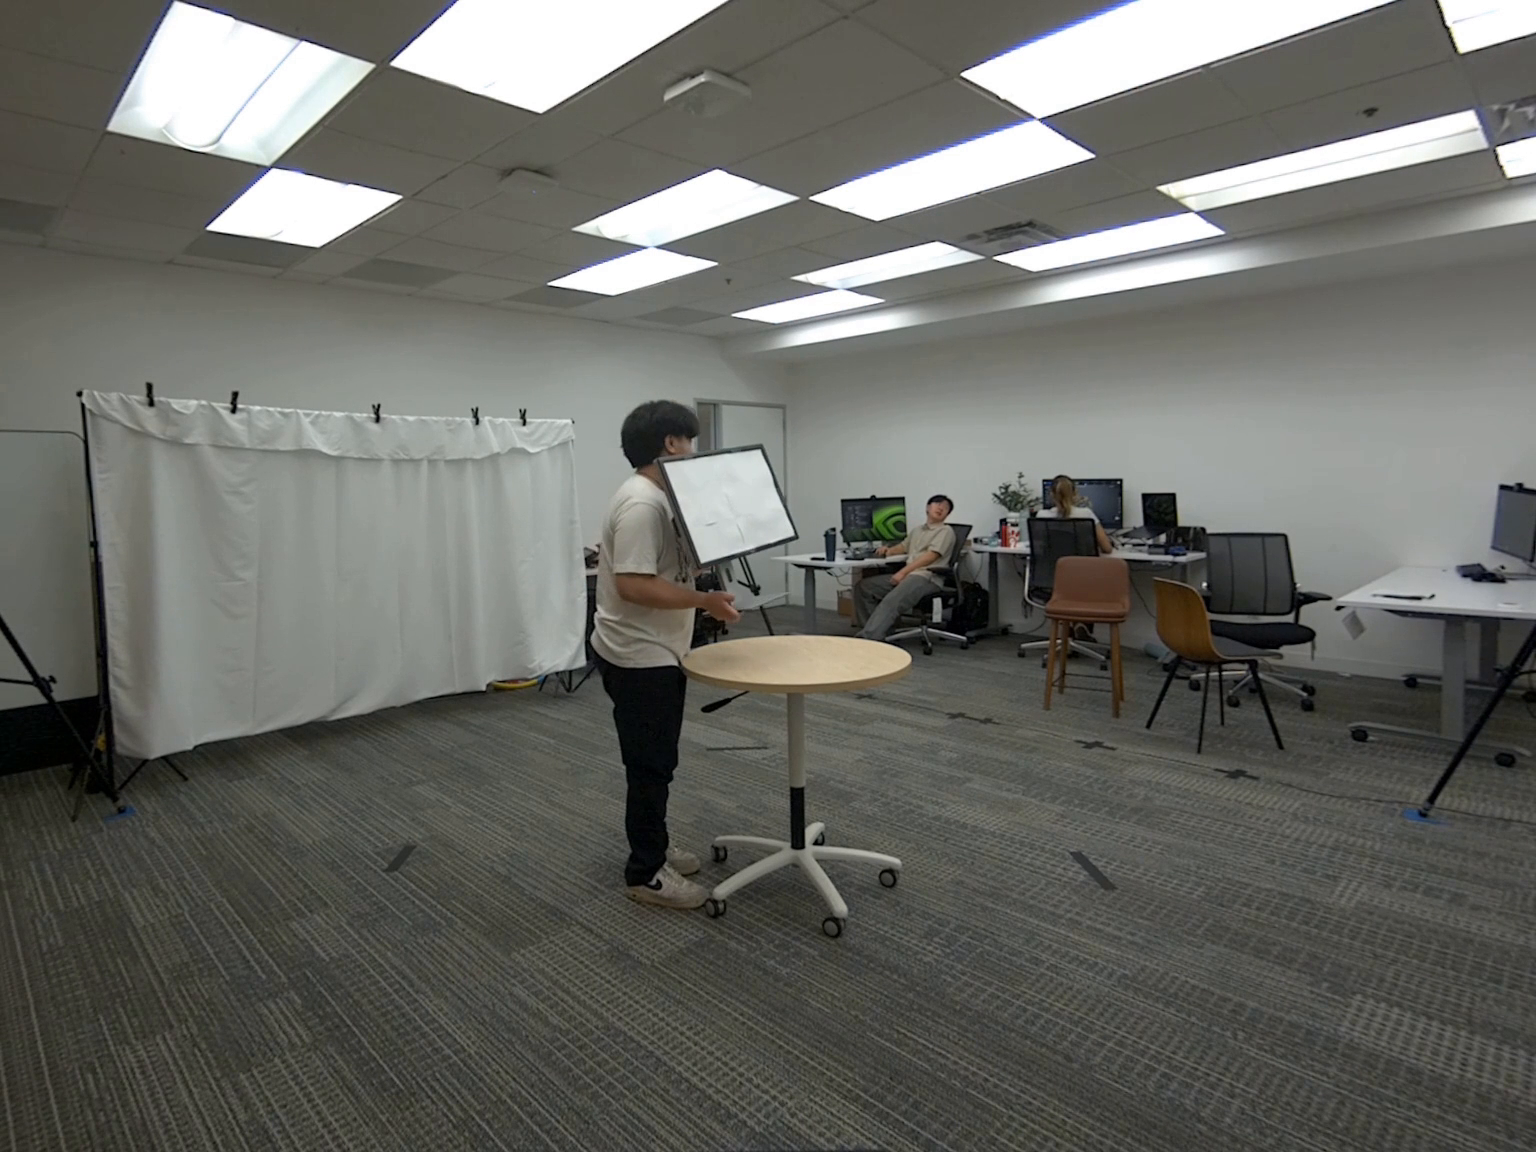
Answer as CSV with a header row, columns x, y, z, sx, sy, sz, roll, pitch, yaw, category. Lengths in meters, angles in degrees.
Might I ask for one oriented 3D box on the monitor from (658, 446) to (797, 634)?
x,y,z,sx,sy,sz,roll,pitch,yaw,category
-0.152,-0.139,2.845,0.214,0.554,0.554,-17,1,38,monitor
